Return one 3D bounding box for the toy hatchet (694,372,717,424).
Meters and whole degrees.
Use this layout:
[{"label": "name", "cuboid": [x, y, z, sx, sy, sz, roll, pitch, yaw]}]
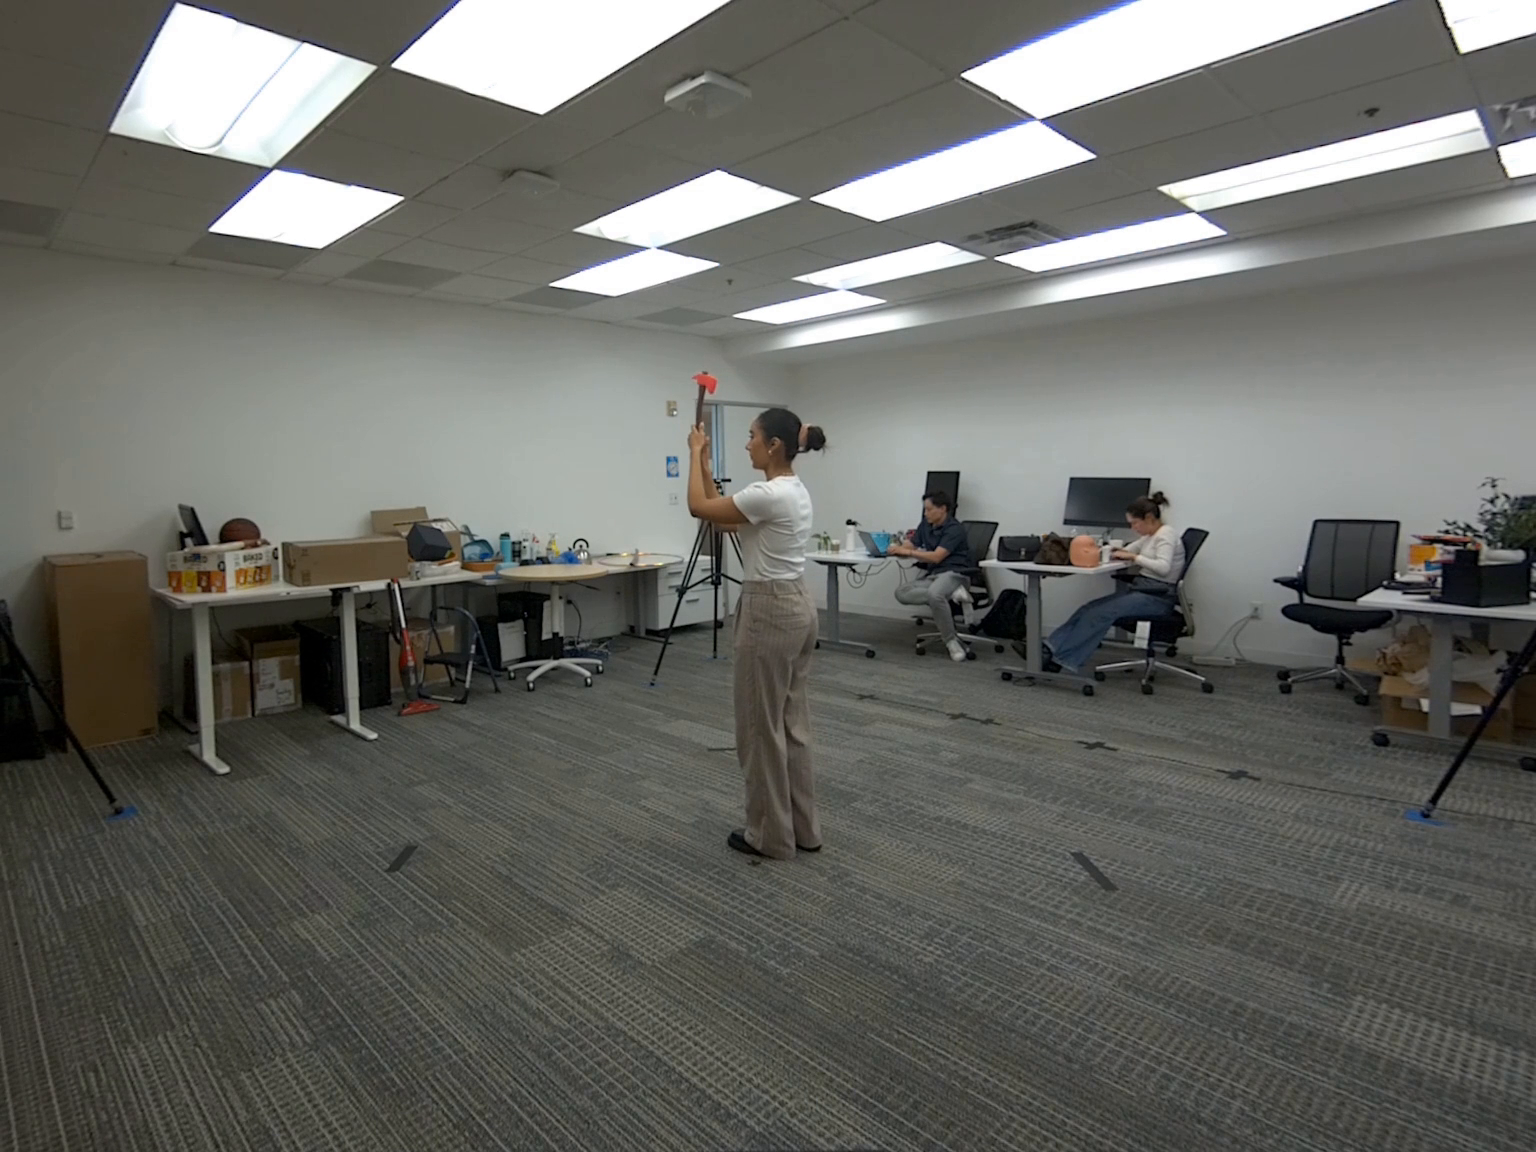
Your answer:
[{"label": "toy hatchet", "cuboid": [-0.227, -0.647, 3.255, 0.134, 0.271, 0.029, -9, -4, 41]}]
